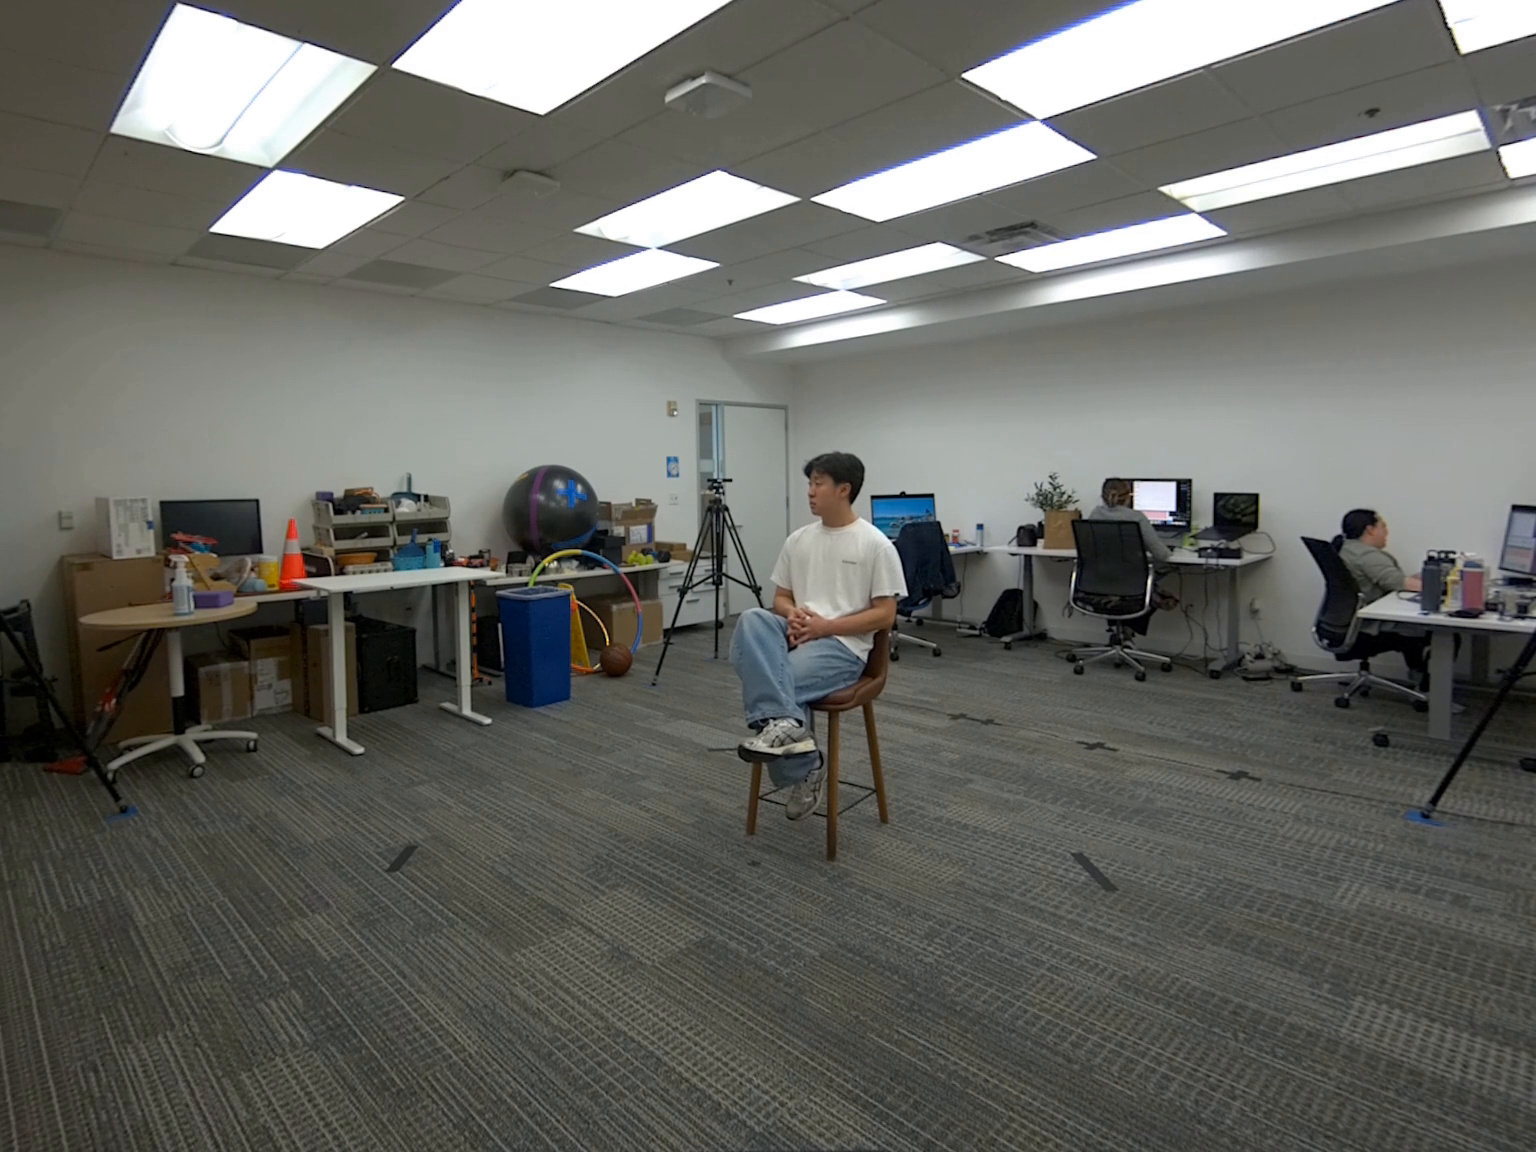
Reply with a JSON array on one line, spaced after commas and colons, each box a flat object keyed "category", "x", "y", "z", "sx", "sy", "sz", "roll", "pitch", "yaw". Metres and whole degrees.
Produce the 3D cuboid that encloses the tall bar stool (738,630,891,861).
[{"category": "tall bar stool", "x": 0.216, "y": 0.576, "z": 3.390, "sx": 0.470, "sy": 0.888, "sz": 0.455, "roll": 4, "pitch": 4, "yaw": 38}]
